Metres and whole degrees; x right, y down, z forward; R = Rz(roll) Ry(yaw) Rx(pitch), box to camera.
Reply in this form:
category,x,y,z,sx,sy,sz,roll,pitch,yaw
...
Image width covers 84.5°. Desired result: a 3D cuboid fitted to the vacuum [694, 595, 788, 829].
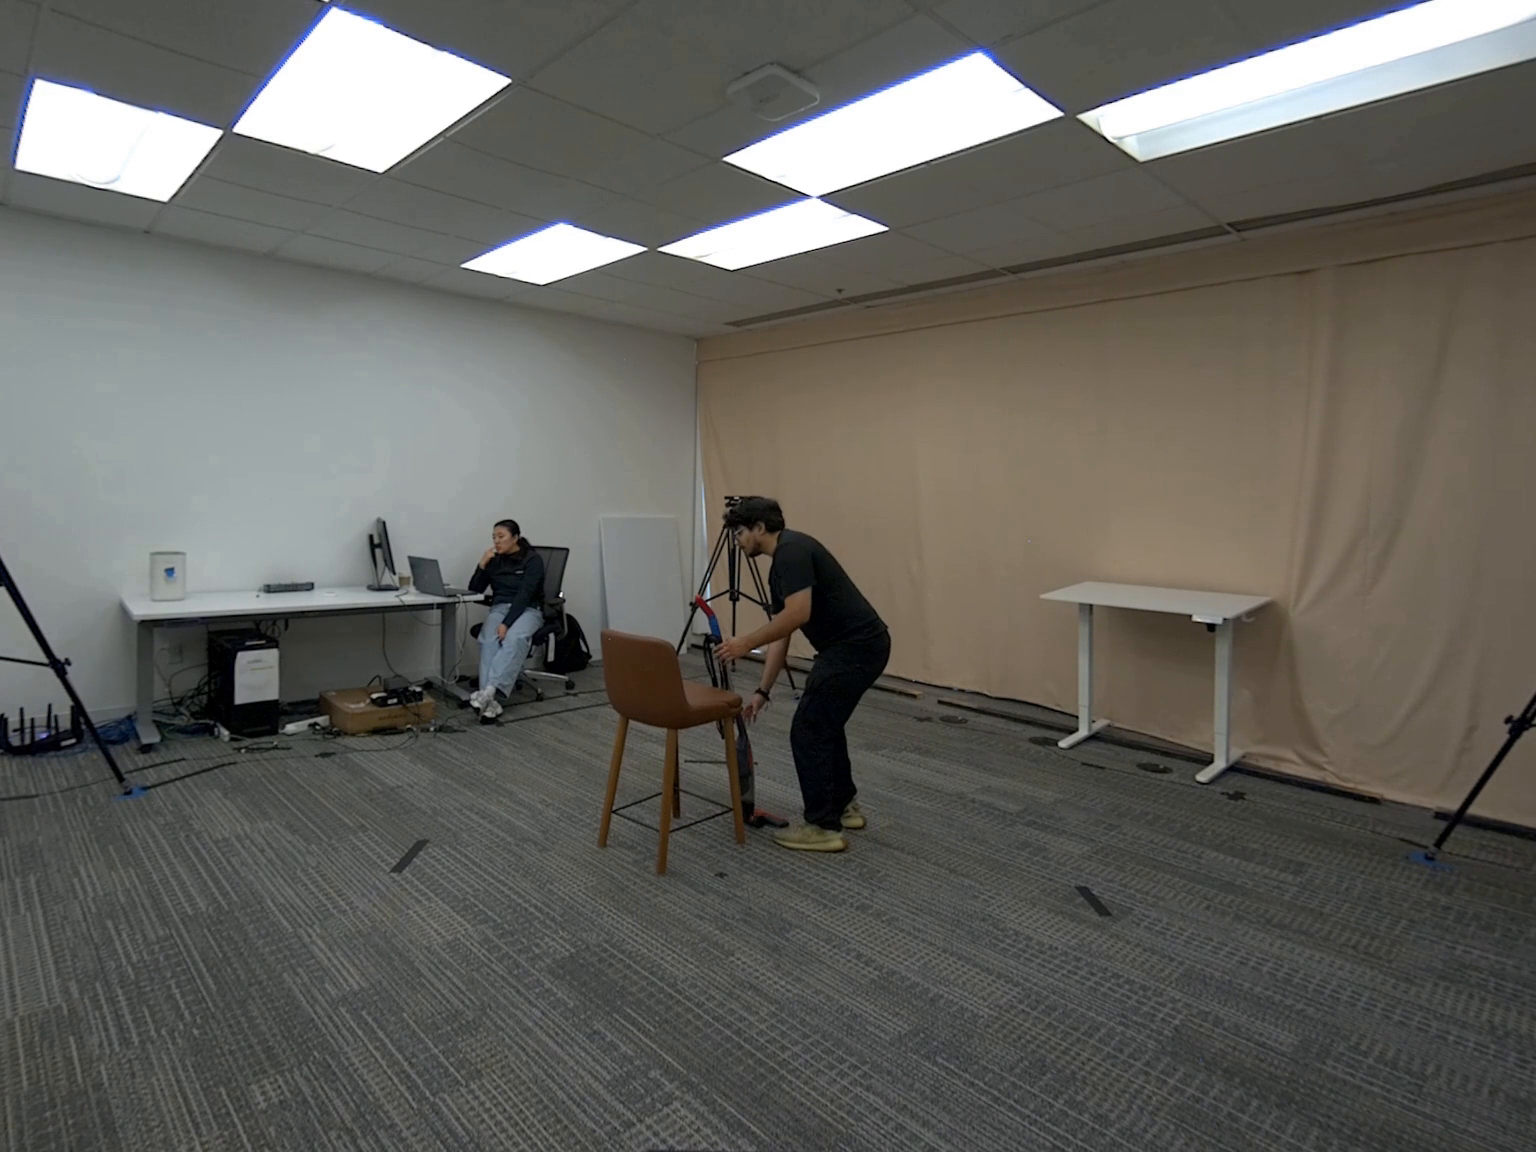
category,x,y,z,sx,sy,sz,roll,pitch,yaw
vacuum,-0.169,0.577,3.512,0.142,1.035,0.259,-24,18,-31
